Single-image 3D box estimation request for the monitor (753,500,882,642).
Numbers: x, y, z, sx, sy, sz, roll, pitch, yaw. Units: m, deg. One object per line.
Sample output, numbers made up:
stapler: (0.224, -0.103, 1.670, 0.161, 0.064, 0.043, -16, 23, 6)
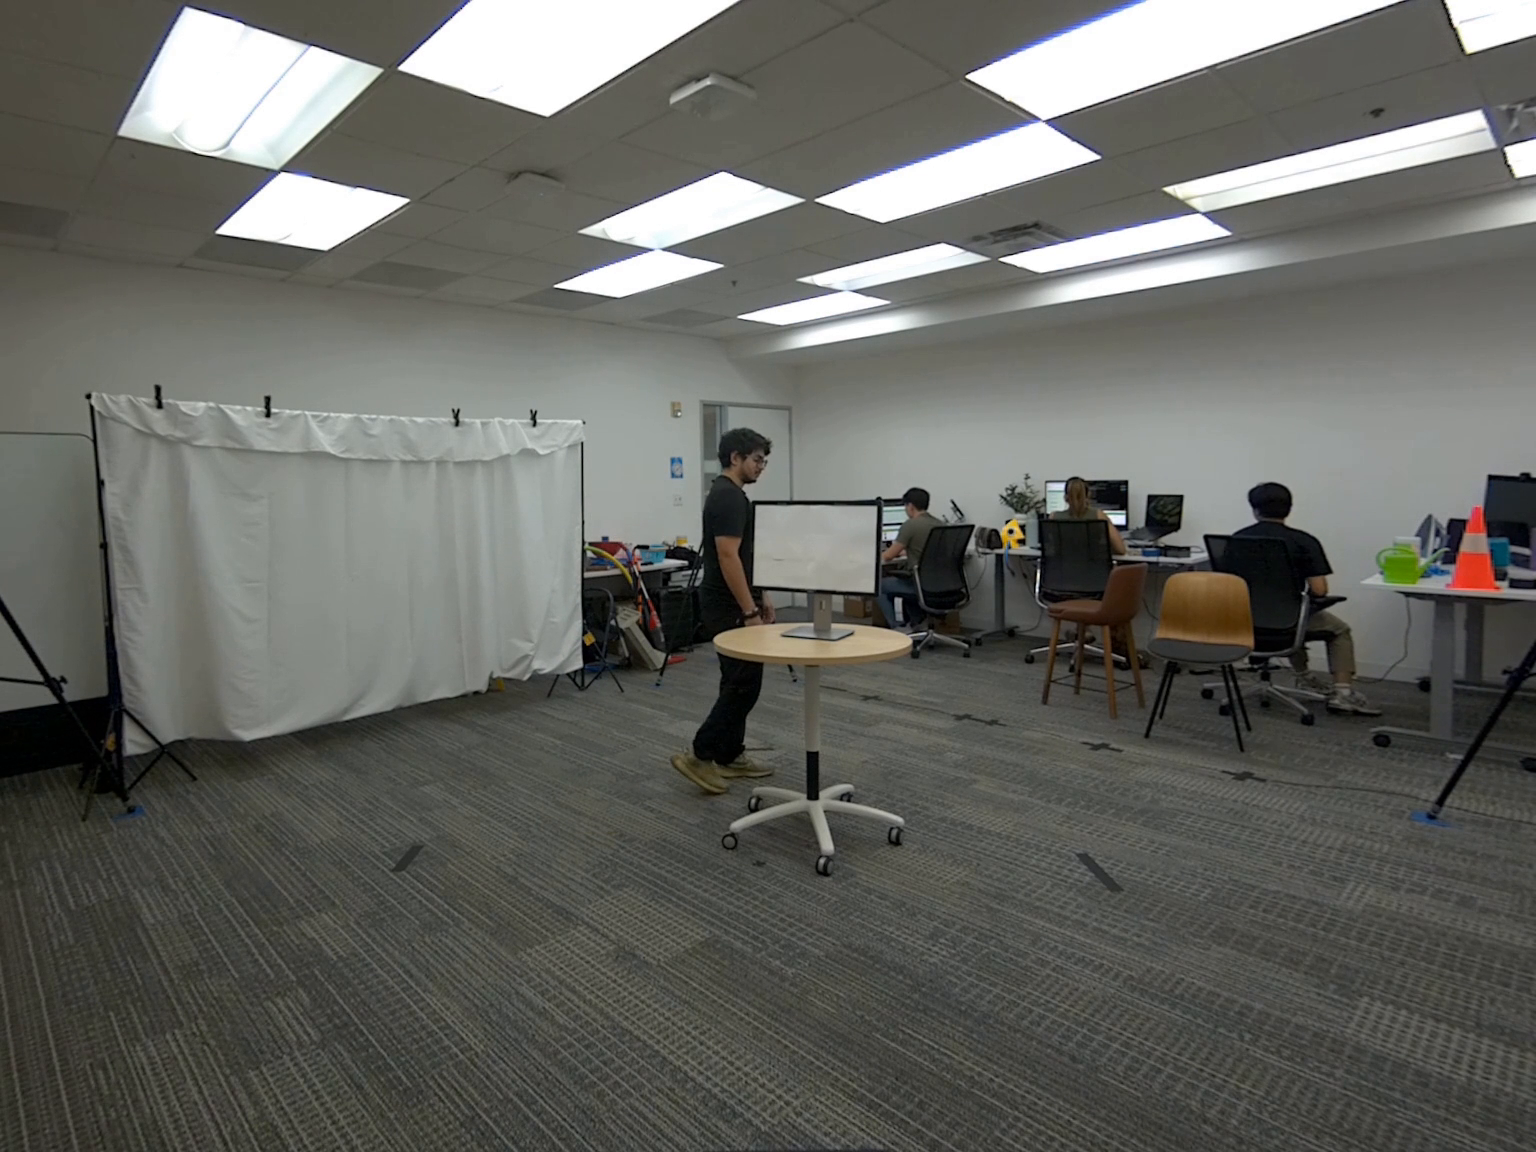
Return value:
monitor: (0.212, -0.029, 3.413, 0.580, 0.553, 0.205, 2, 1, 31)
